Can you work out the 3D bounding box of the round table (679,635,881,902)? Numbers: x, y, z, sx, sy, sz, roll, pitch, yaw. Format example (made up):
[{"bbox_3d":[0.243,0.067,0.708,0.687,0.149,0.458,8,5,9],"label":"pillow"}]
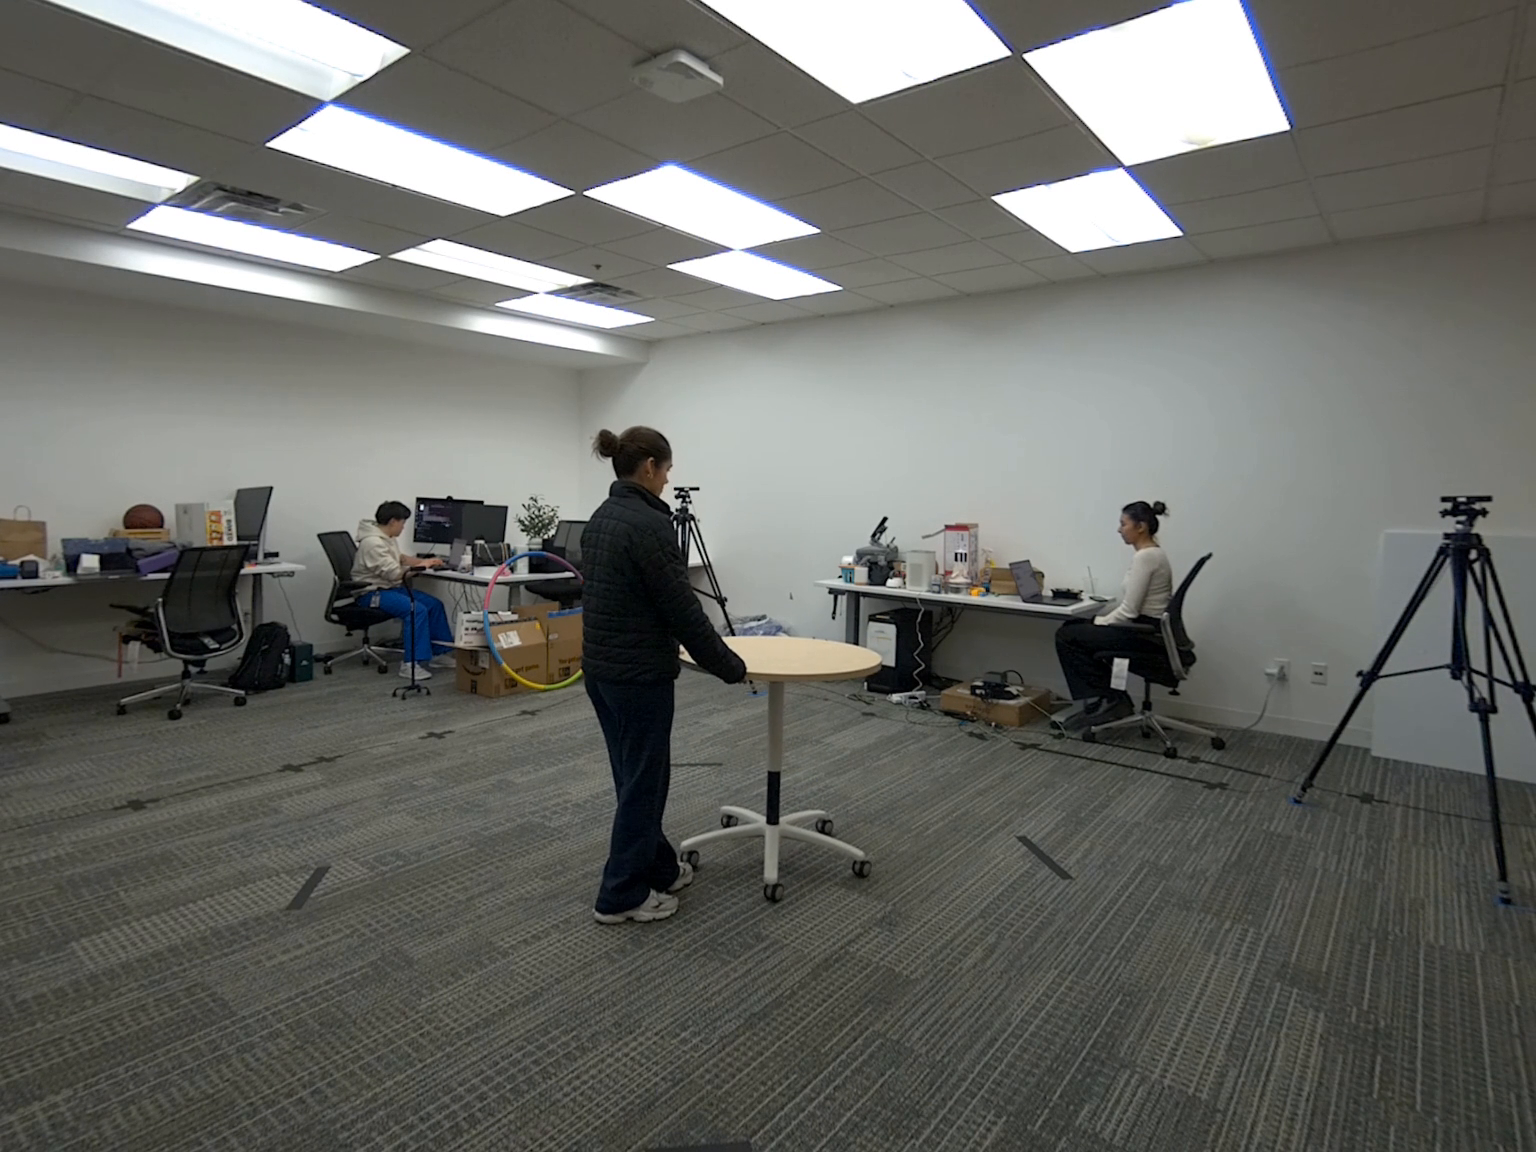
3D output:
[{"bbox_3d":[0.031,0.669,3.188,0.784,0.784,0.789,1,4,-2],"label":"round table"}]
